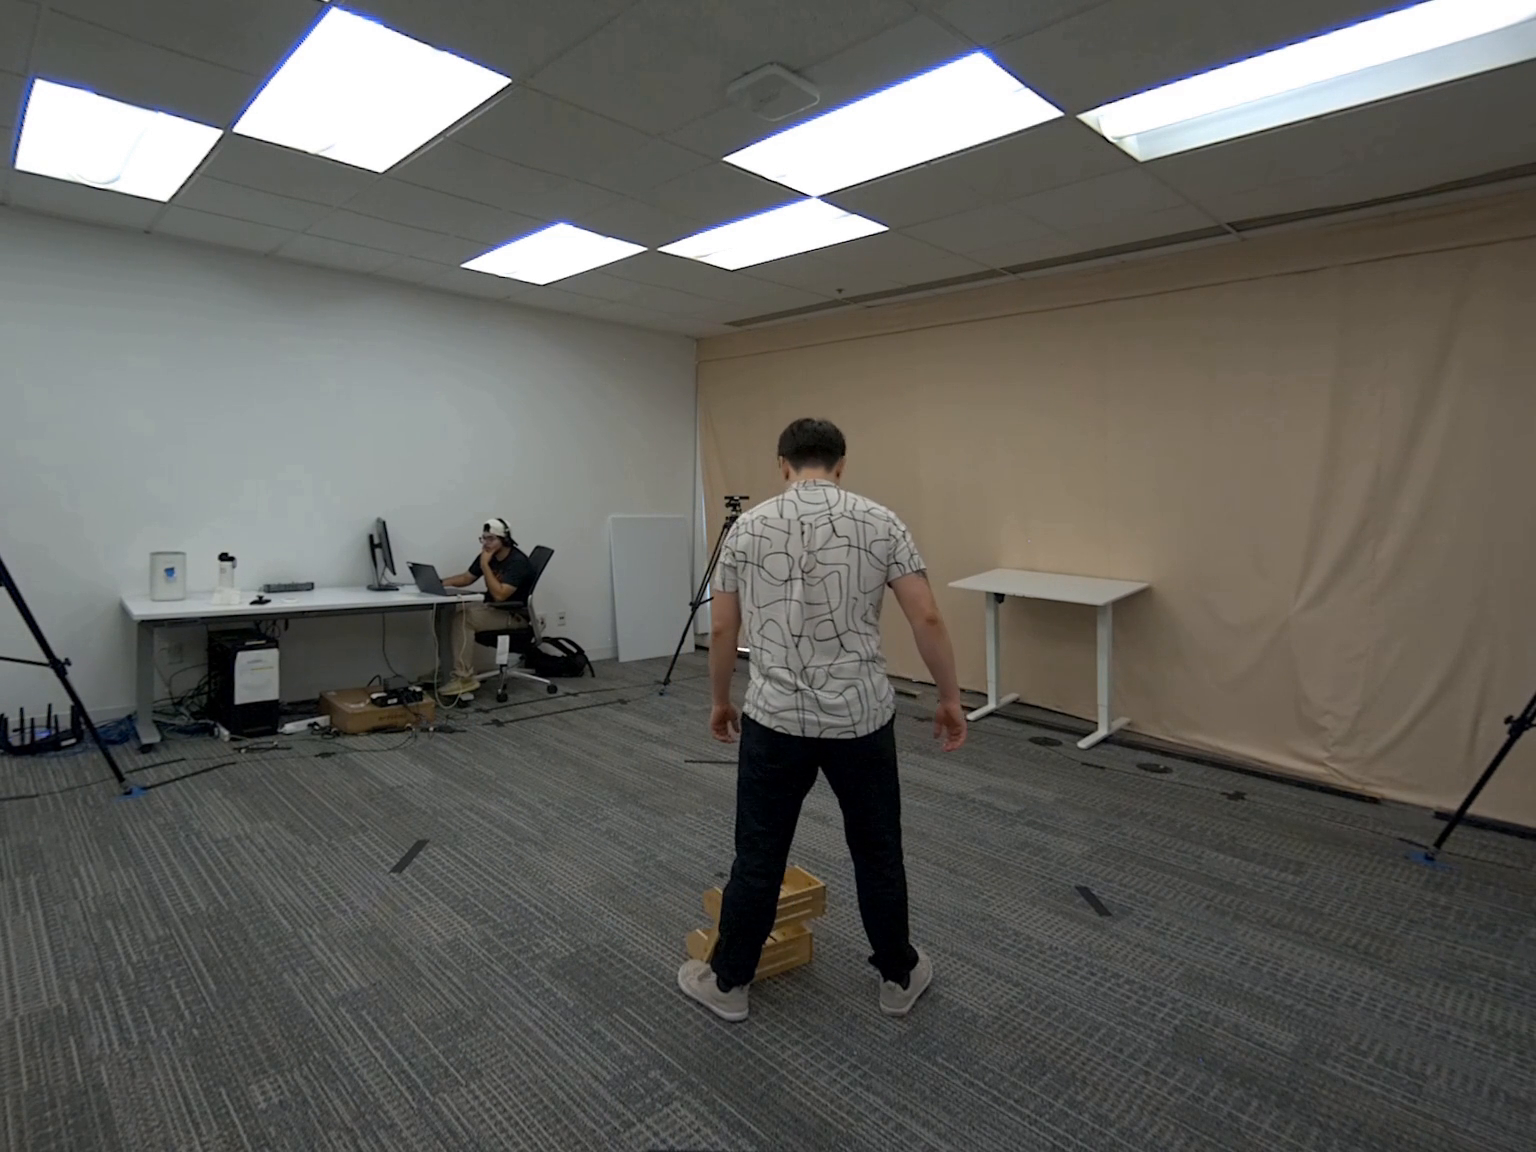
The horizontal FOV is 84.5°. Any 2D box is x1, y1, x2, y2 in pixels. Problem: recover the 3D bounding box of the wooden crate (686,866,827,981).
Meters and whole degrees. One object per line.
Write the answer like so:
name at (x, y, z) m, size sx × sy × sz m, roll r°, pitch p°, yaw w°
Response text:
wooden crate at (-0.045, 1.026, 2.528) m, size 0.317 × 0.272 × 0.310 m, roll -1°, pitch 6°, yaw -35°
